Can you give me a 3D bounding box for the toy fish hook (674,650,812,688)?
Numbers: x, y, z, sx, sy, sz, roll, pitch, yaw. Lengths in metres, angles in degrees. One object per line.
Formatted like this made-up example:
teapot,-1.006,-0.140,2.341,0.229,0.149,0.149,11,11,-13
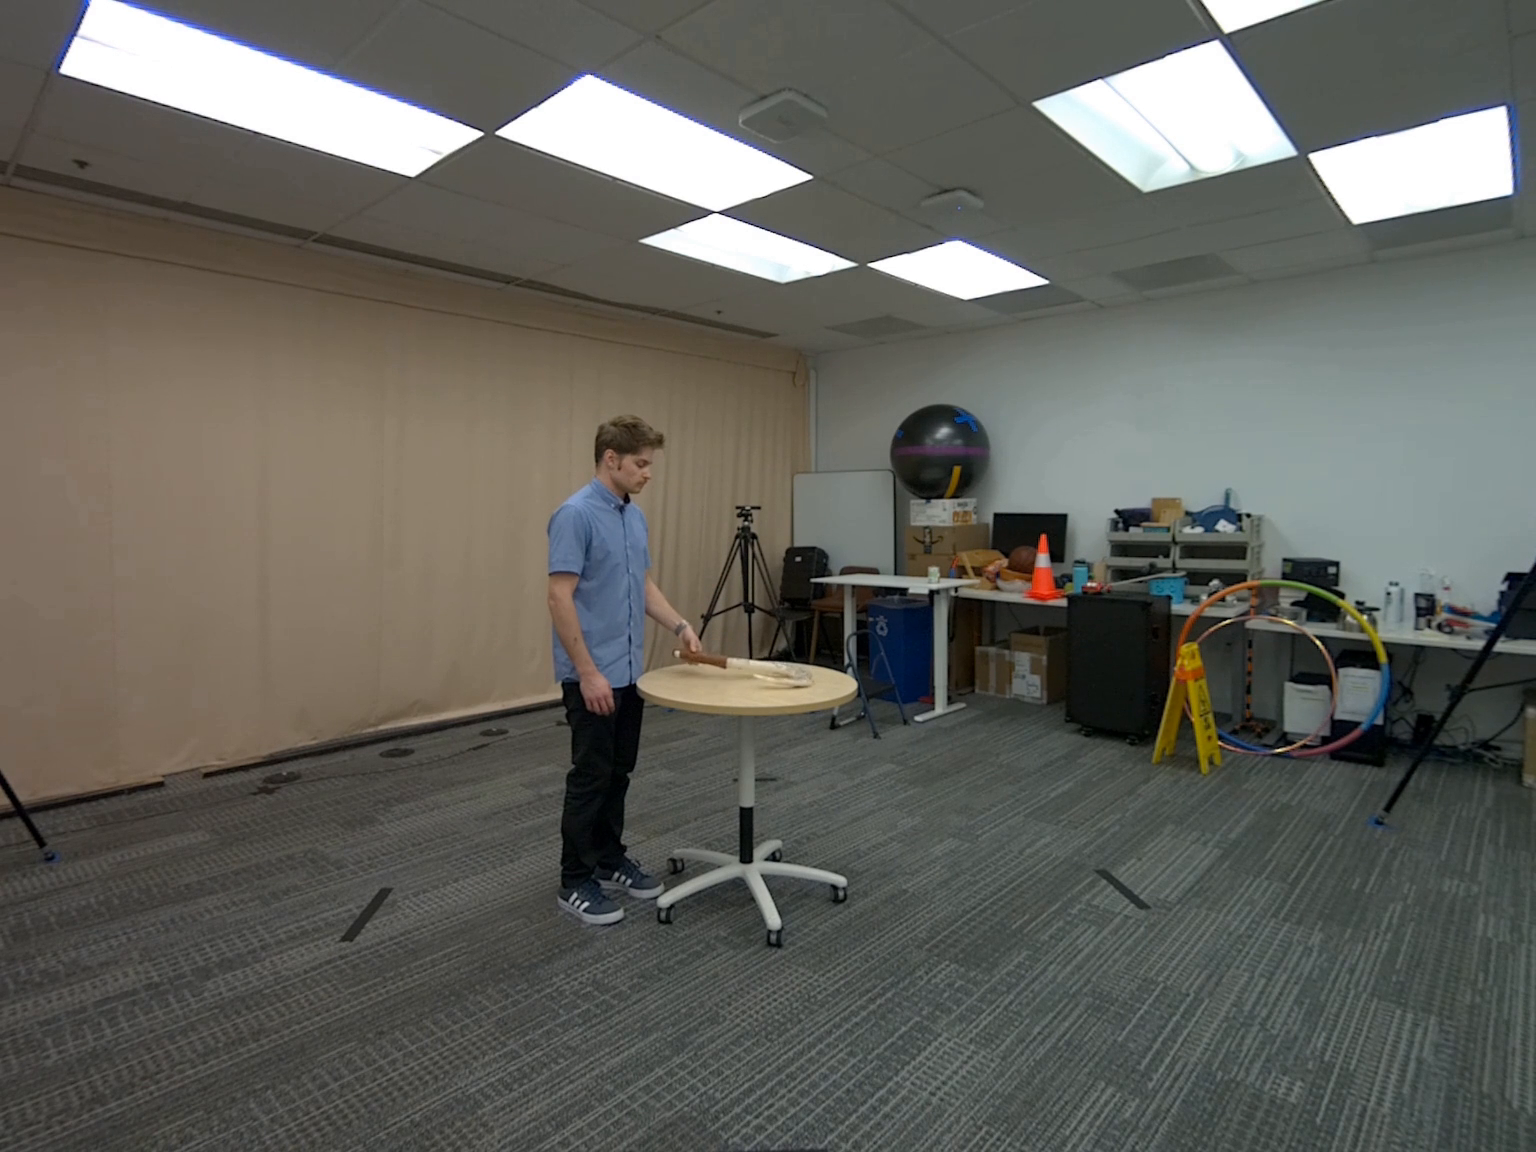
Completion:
toy fish hook,-0.090,0.321,2.908,0.512,0.048,0.223,8,6,8
